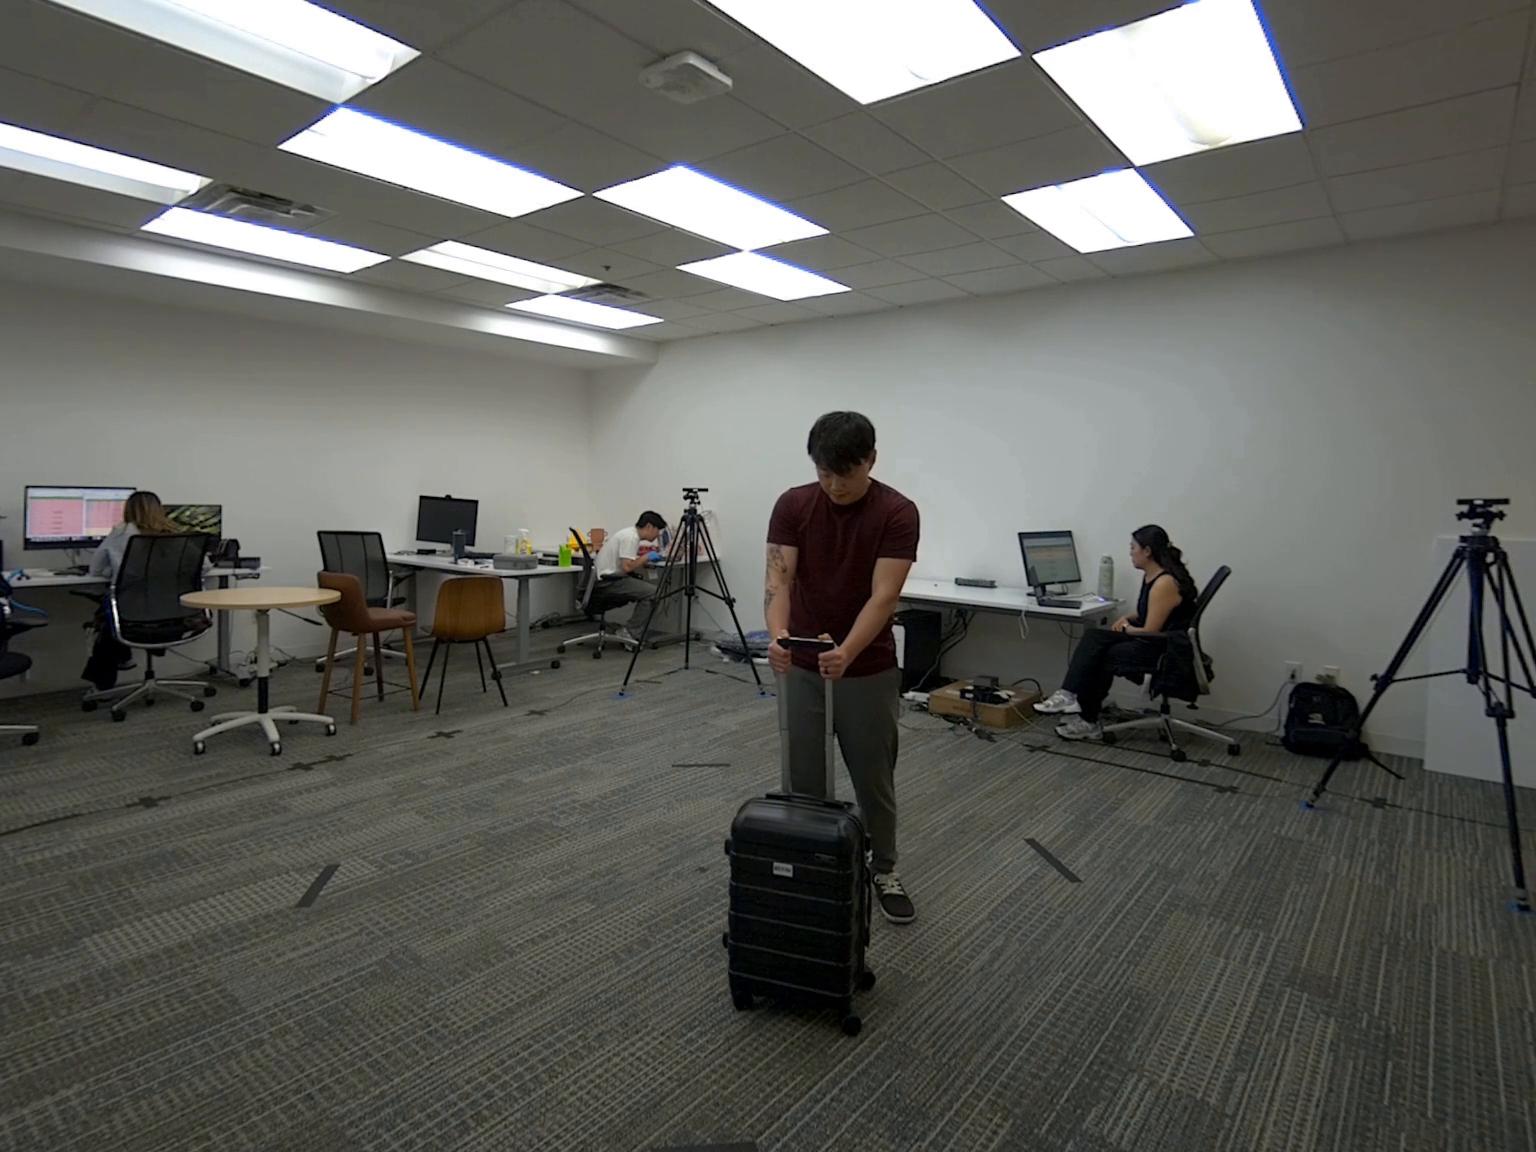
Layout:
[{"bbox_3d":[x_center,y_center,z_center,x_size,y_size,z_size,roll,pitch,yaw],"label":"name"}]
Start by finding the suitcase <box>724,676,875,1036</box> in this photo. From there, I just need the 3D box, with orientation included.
[{"bbox_3d":[0.074,0.676,2.295,0.392,0.973,0.253,1,6,19],"label":"suitcase"}]
